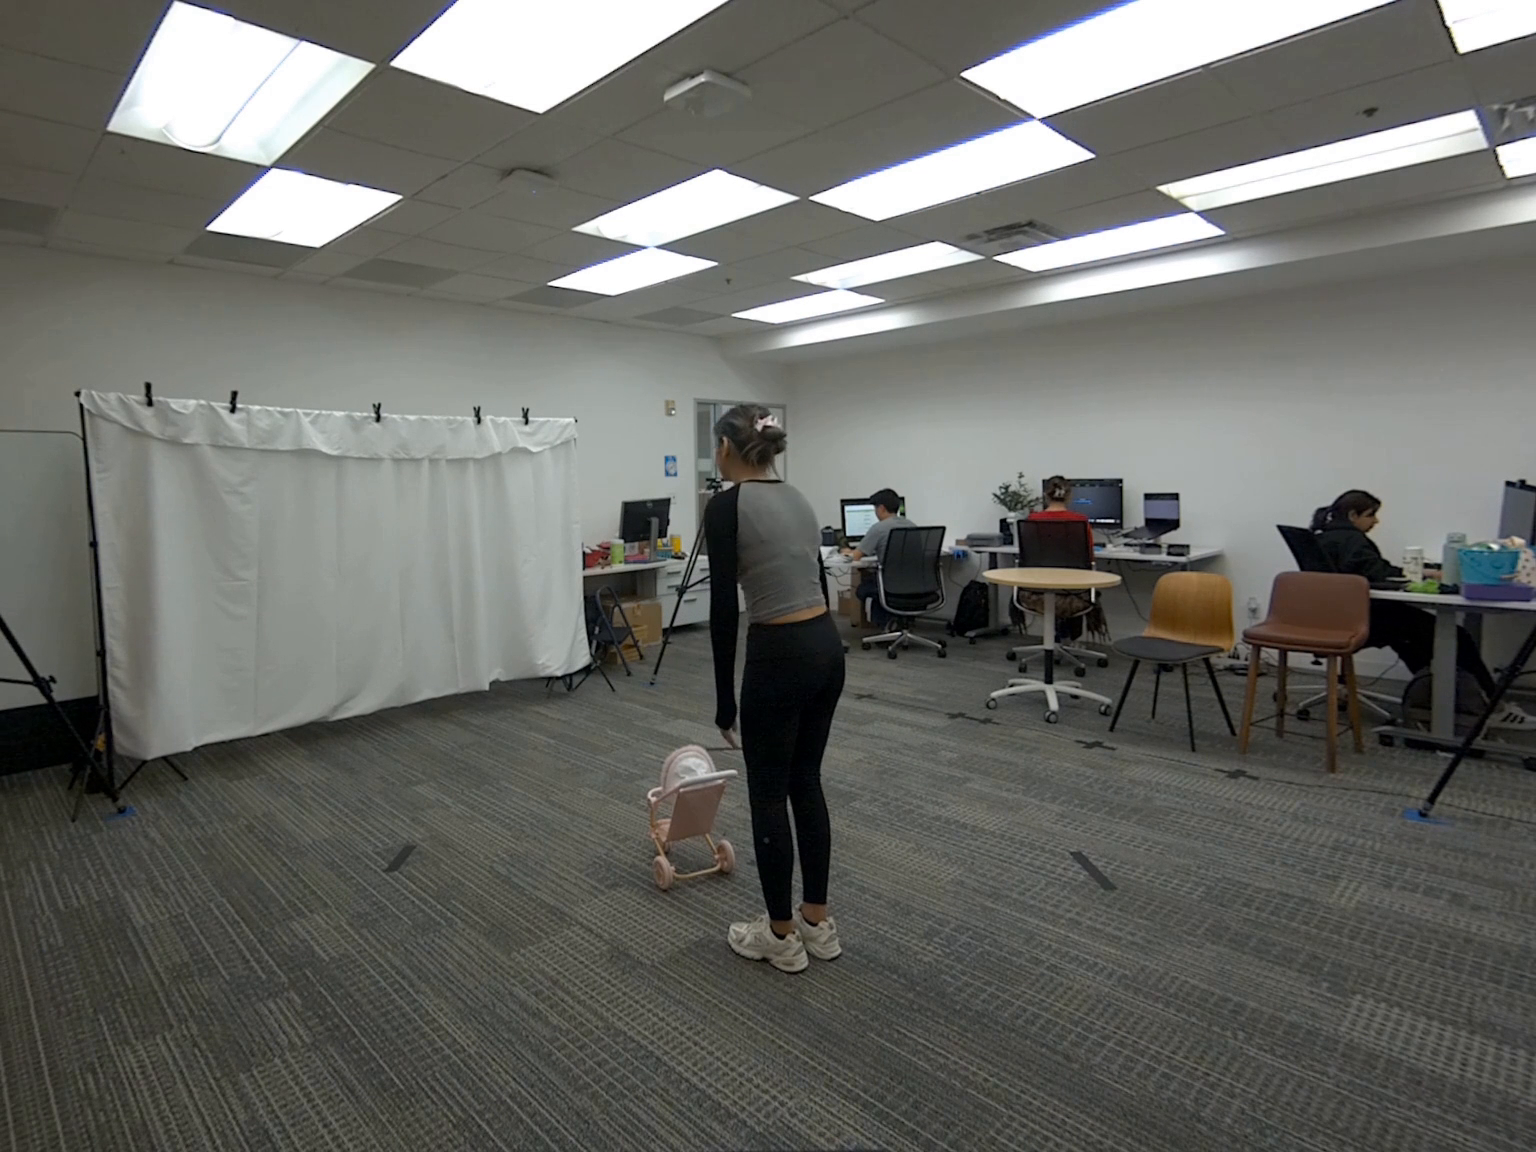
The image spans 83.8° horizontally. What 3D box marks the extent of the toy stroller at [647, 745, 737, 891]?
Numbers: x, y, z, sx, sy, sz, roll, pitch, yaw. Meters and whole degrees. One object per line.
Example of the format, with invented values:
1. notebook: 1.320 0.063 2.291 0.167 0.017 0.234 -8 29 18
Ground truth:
1. toy stroller: -0.287 0.832 3.022 0.275 0.527 0.354 -3 23 -26
